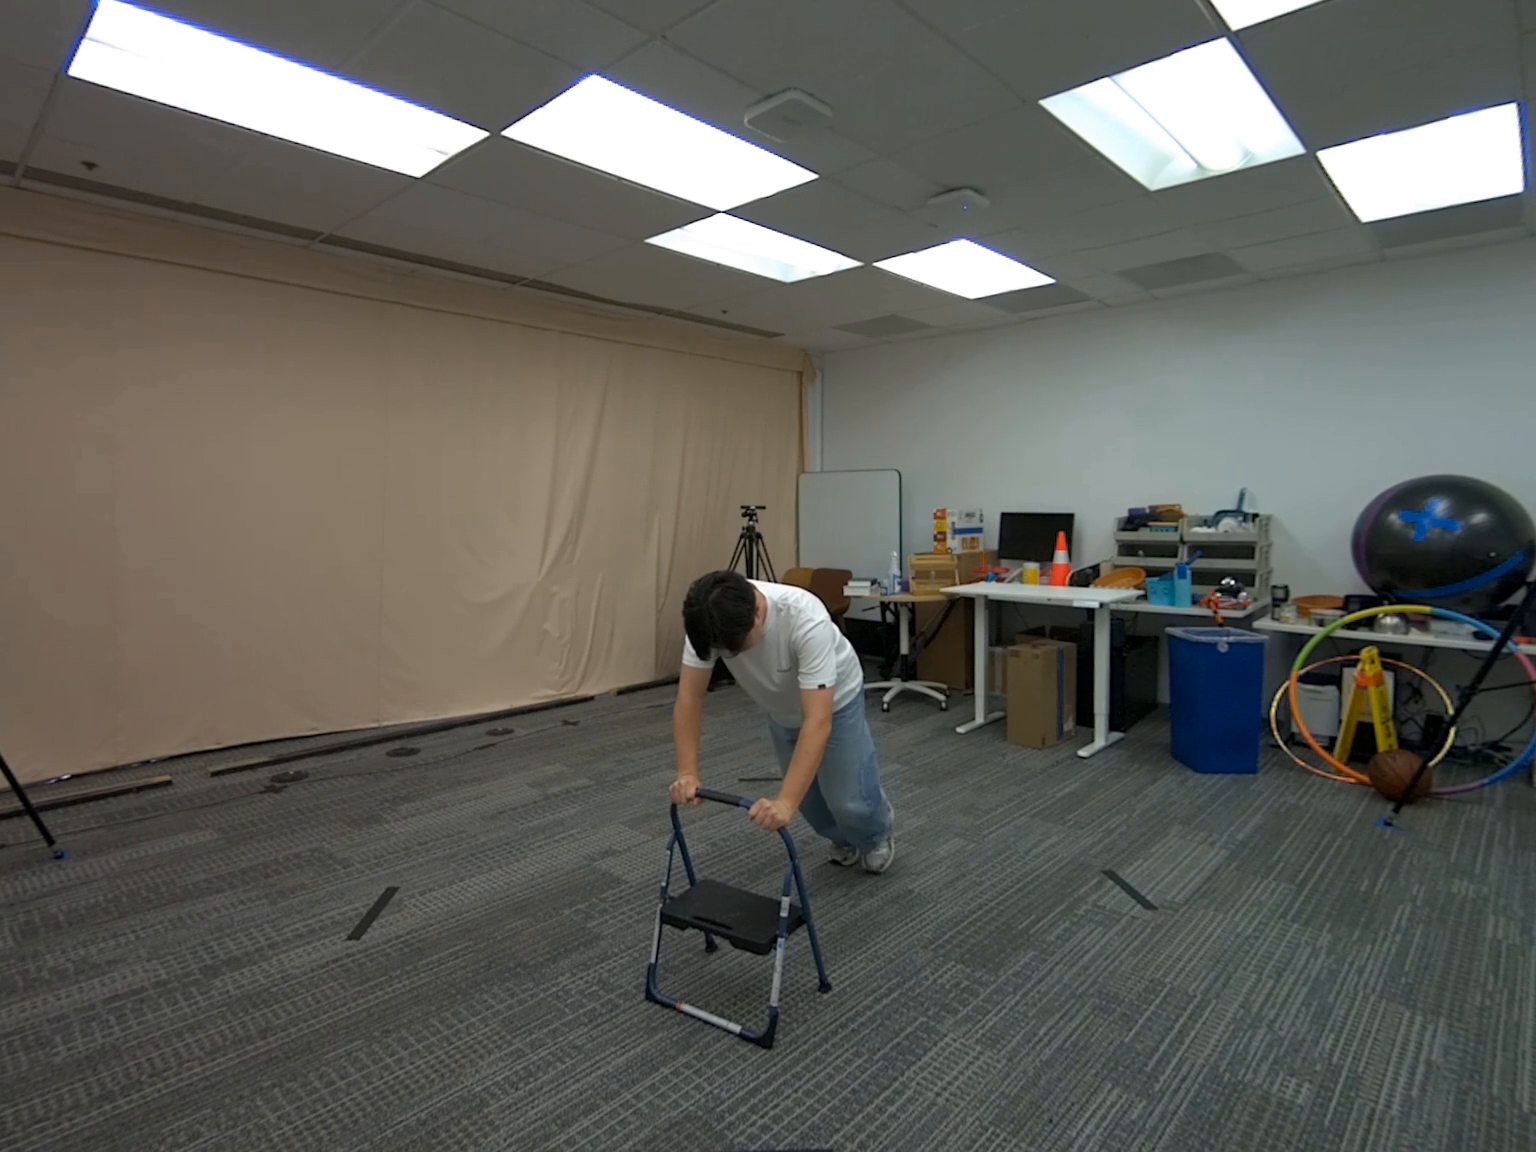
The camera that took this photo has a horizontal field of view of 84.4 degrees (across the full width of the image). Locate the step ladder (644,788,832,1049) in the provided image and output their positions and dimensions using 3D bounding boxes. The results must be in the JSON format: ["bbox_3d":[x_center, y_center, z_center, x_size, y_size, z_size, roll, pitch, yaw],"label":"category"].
[{"bbox_3d":[-0.090,0.891,2.382,0.443,0.604,0.340,2,5,32],"label":"step ladder"}]
